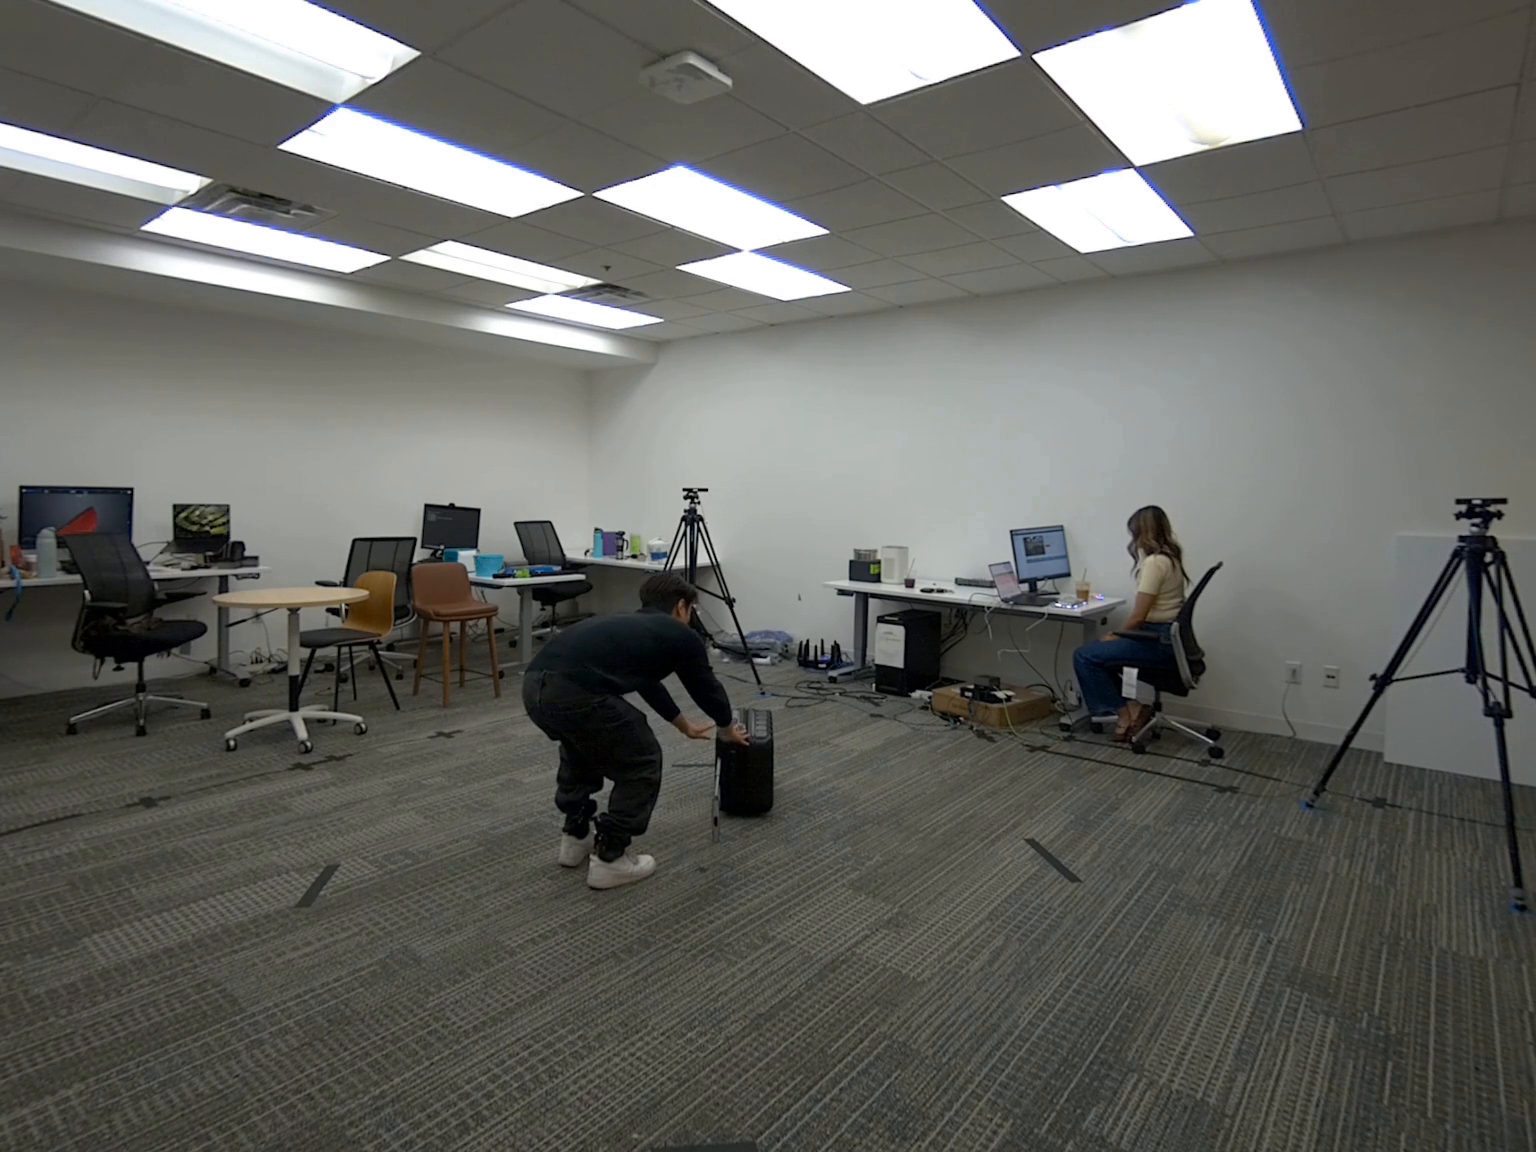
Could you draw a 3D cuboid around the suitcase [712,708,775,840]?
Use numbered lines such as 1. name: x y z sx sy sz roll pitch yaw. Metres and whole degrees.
1. suitcase: -0.105 0.833 3.619 0.257 0.382 0.983 0 5 -2
